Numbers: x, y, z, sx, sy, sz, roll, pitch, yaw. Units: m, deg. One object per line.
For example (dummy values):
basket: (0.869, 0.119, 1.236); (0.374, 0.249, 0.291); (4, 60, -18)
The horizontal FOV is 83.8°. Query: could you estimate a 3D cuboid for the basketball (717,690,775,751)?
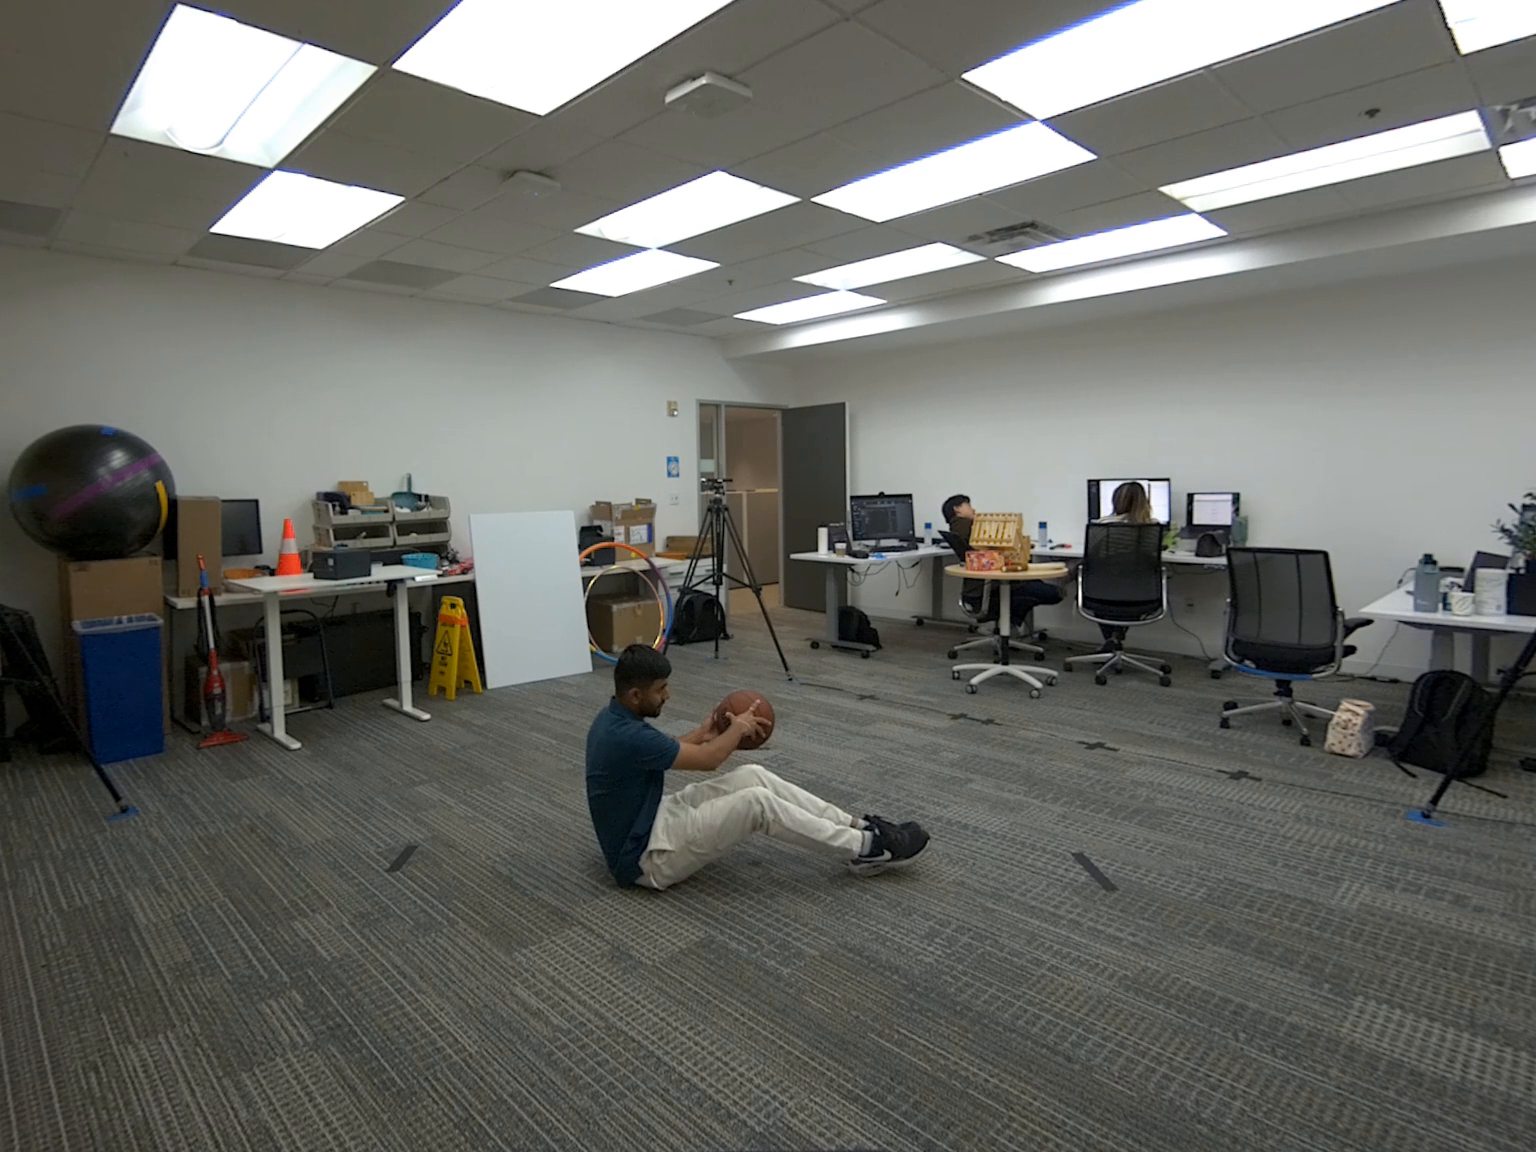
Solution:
basketball: (-0.080, 0.572, 3.451); (0.236, 0.235, 0.237); (-1, 5, -2)
